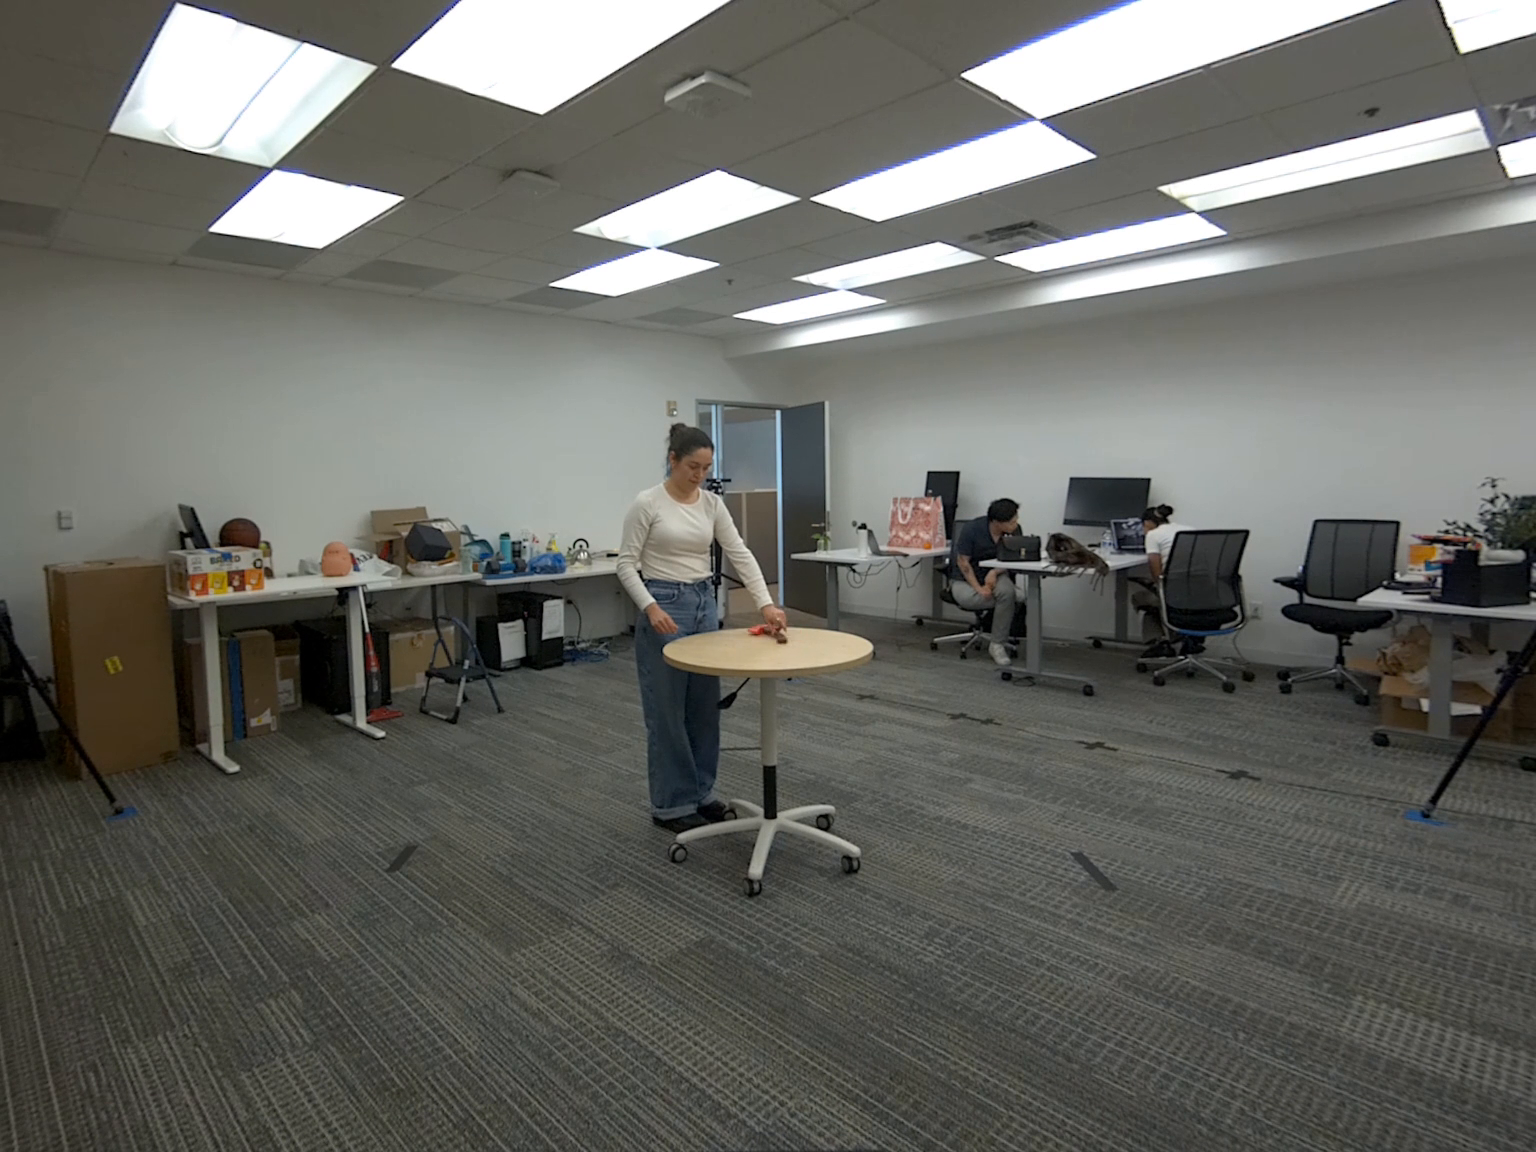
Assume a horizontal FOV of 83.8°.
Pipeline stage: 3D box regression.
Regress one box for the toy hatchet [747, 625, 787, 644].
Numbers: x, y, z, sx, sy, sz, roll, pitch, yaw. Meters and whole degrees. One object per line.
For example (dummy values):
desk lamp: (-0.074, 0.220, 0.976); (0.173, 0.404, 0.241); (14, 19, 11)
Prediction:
toy hatchet: (-0.005, 0.224, 3.275); (0.131, 0.029, 0.272); (1, 7, -3)
